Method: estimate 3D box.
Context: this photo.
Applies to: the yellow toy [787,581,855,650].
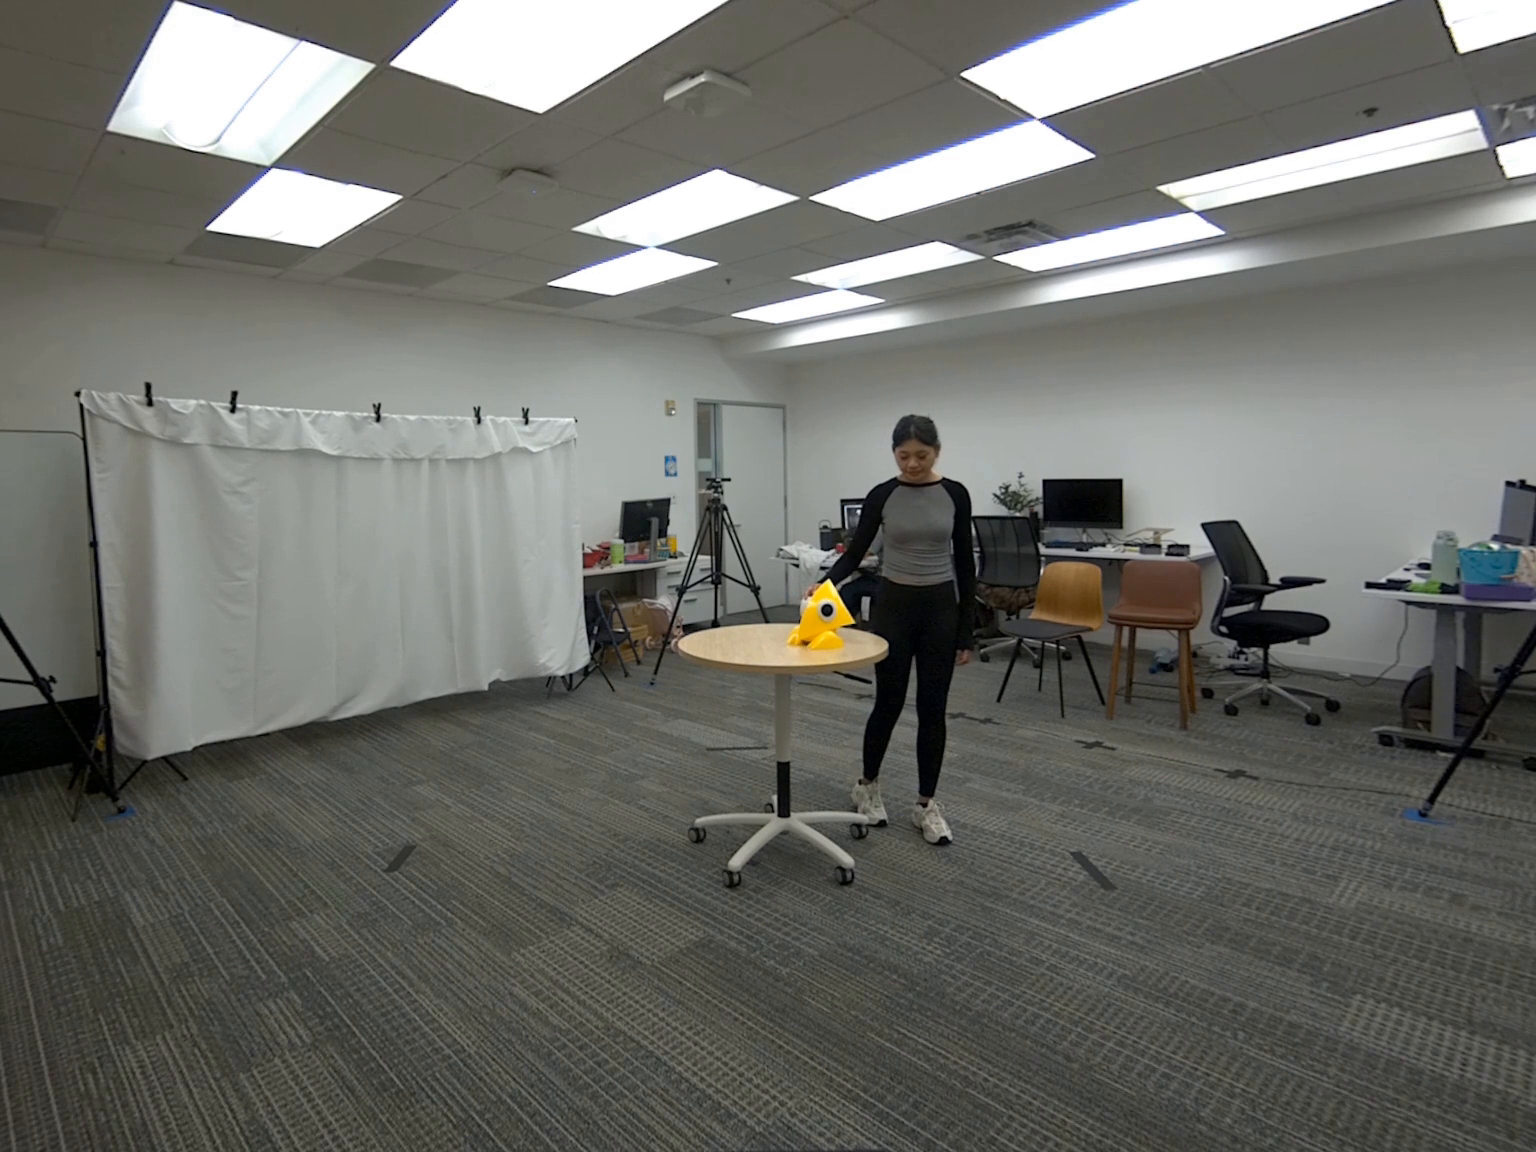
[{"bbox_3d":[0.182,0.133,3.097,0.188,0.230,0.211,-5,7,-38],"label":"yellow toy"}]
